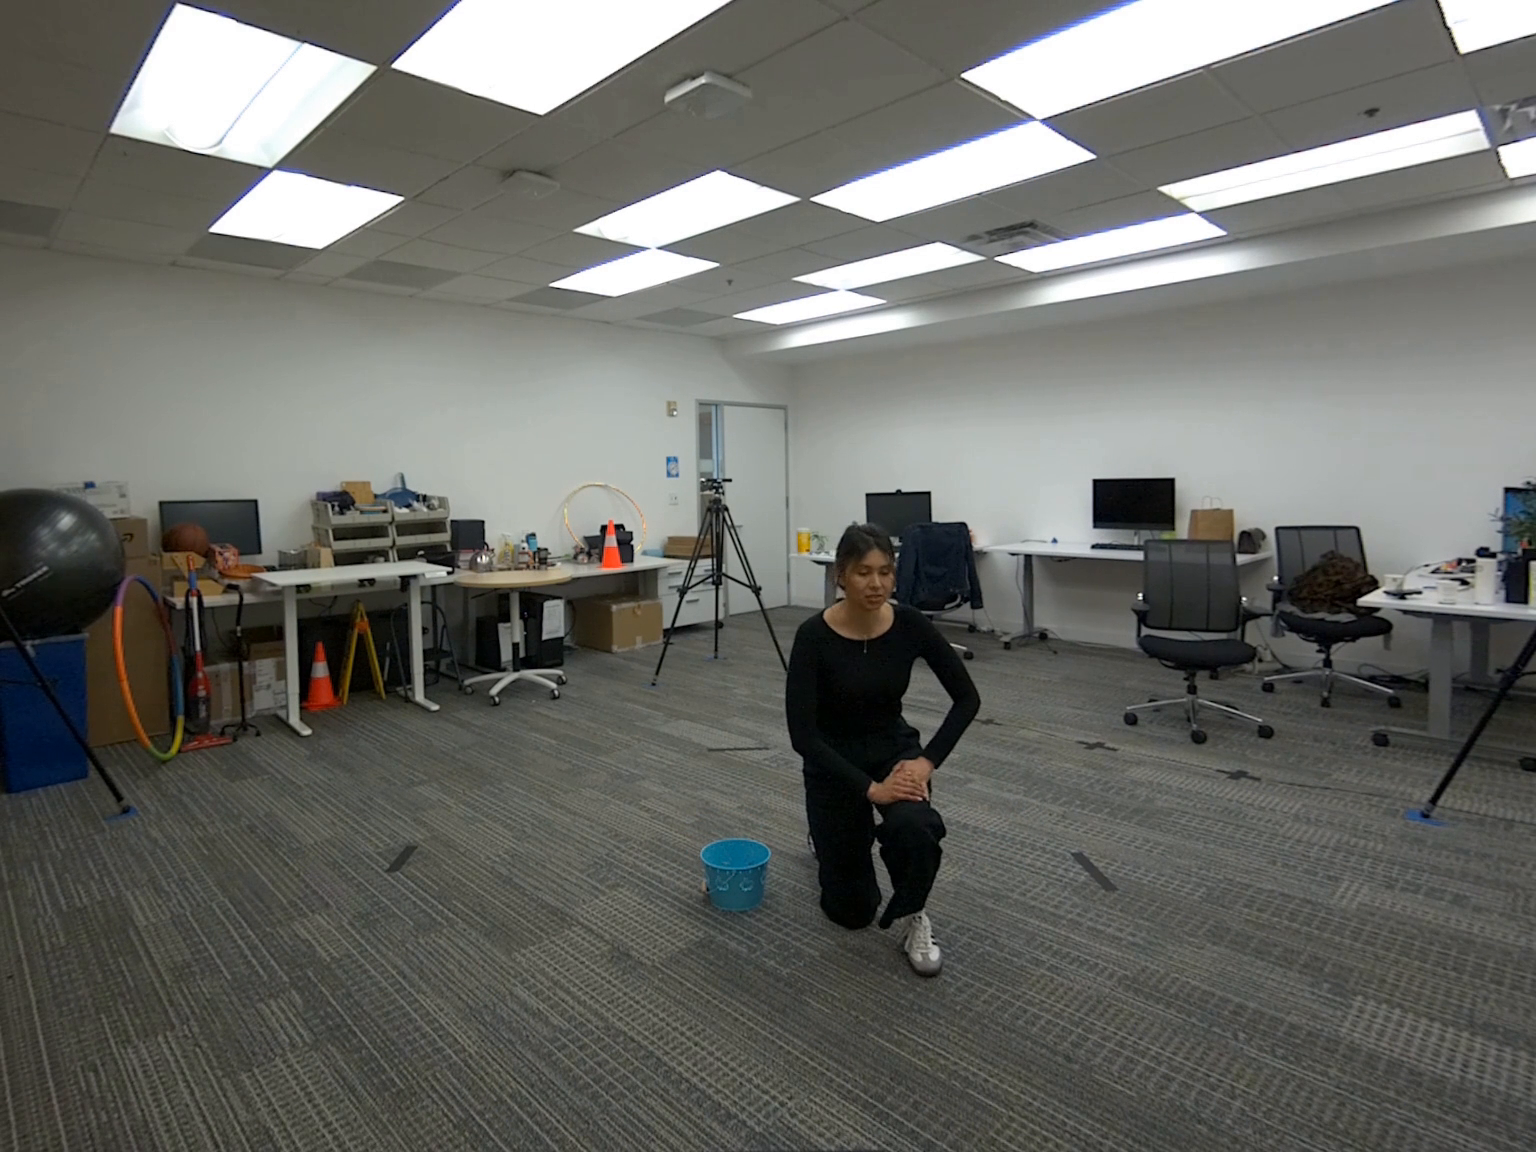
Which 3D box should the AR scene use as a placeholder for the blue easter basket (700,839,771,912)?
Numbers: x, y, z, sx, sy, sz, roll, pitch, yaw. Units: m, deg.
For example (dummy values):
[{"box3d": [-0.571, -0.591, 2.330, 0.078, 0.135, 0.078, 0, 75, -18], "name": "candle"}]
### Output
[{"box3d": [-0.107, 0.996, 2.854, 0.243, 0.155, 0.245, -1, 6, -2], "name": "blue easter basket"}]
